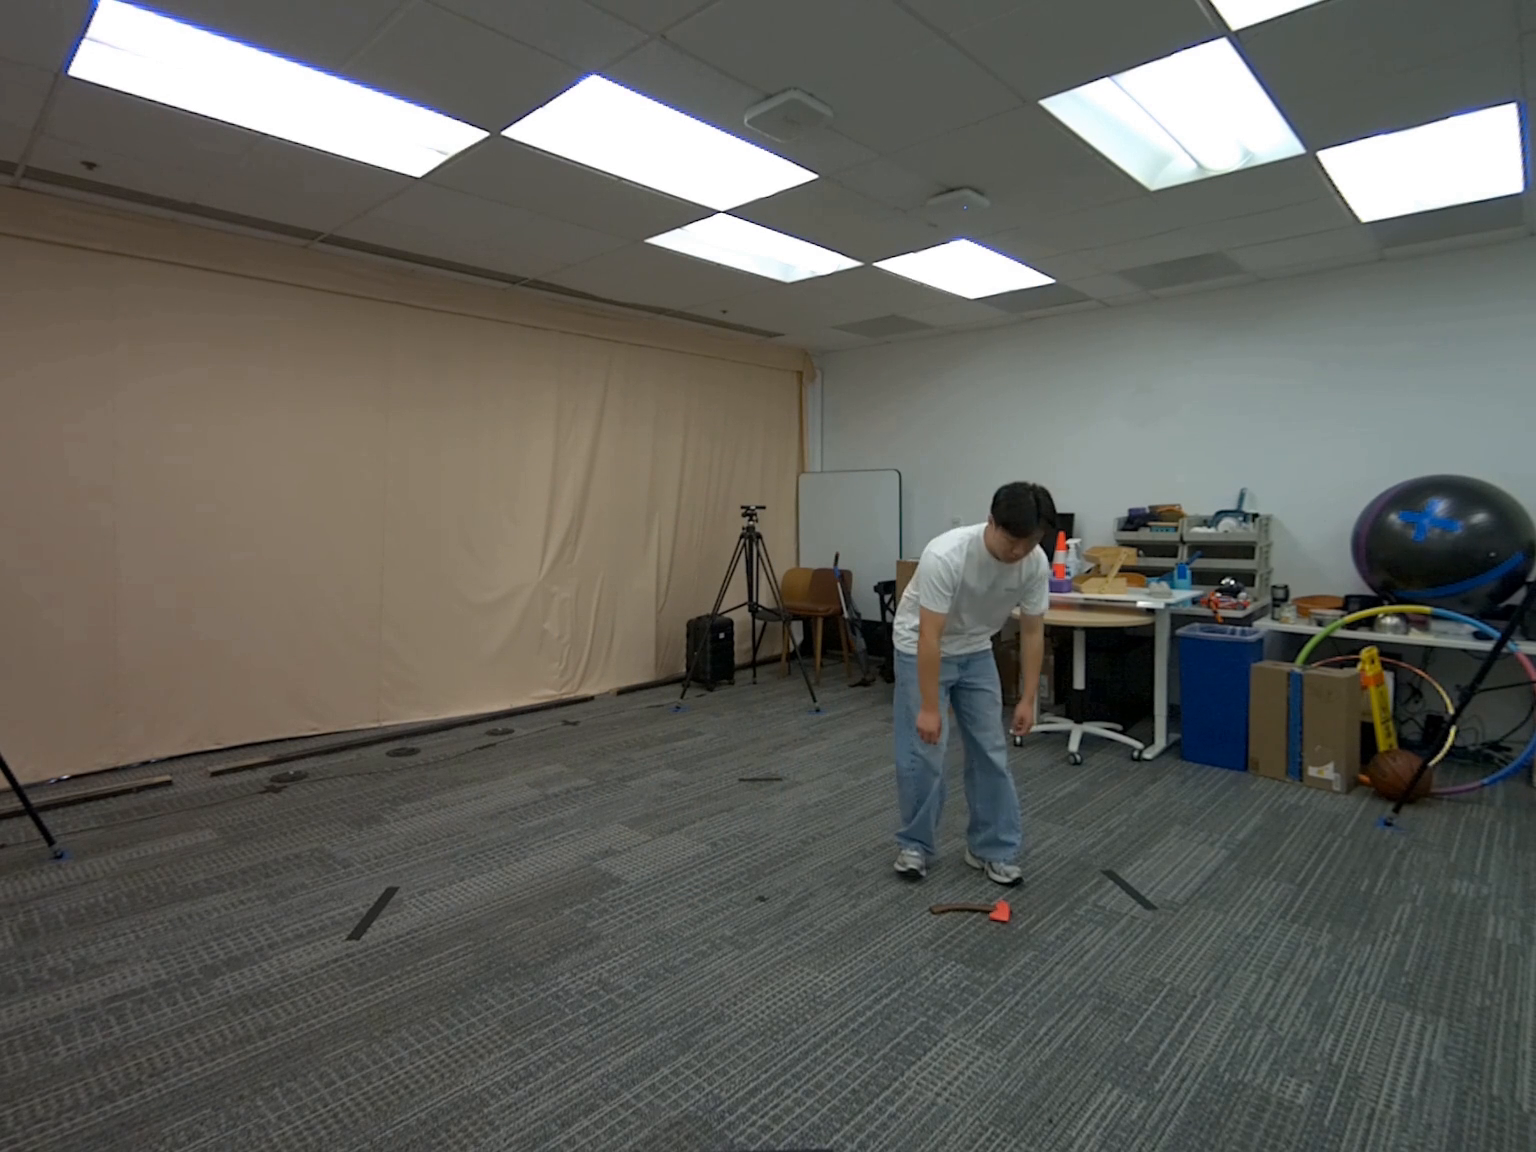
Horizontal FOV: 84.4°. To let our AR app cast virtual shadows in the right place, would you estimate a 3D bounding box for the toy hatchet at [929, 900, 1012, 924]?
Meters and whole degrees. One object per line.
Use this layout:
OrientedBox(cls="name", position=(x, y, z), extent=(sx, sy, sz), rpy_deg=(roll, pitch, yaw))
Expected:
OrientedBox(cls="toy hatchet", position=(0.695, 1.138, 2.845), extent=(0.268, 0.029, 0.133), rpy_deg=(-4, 10, -8))
